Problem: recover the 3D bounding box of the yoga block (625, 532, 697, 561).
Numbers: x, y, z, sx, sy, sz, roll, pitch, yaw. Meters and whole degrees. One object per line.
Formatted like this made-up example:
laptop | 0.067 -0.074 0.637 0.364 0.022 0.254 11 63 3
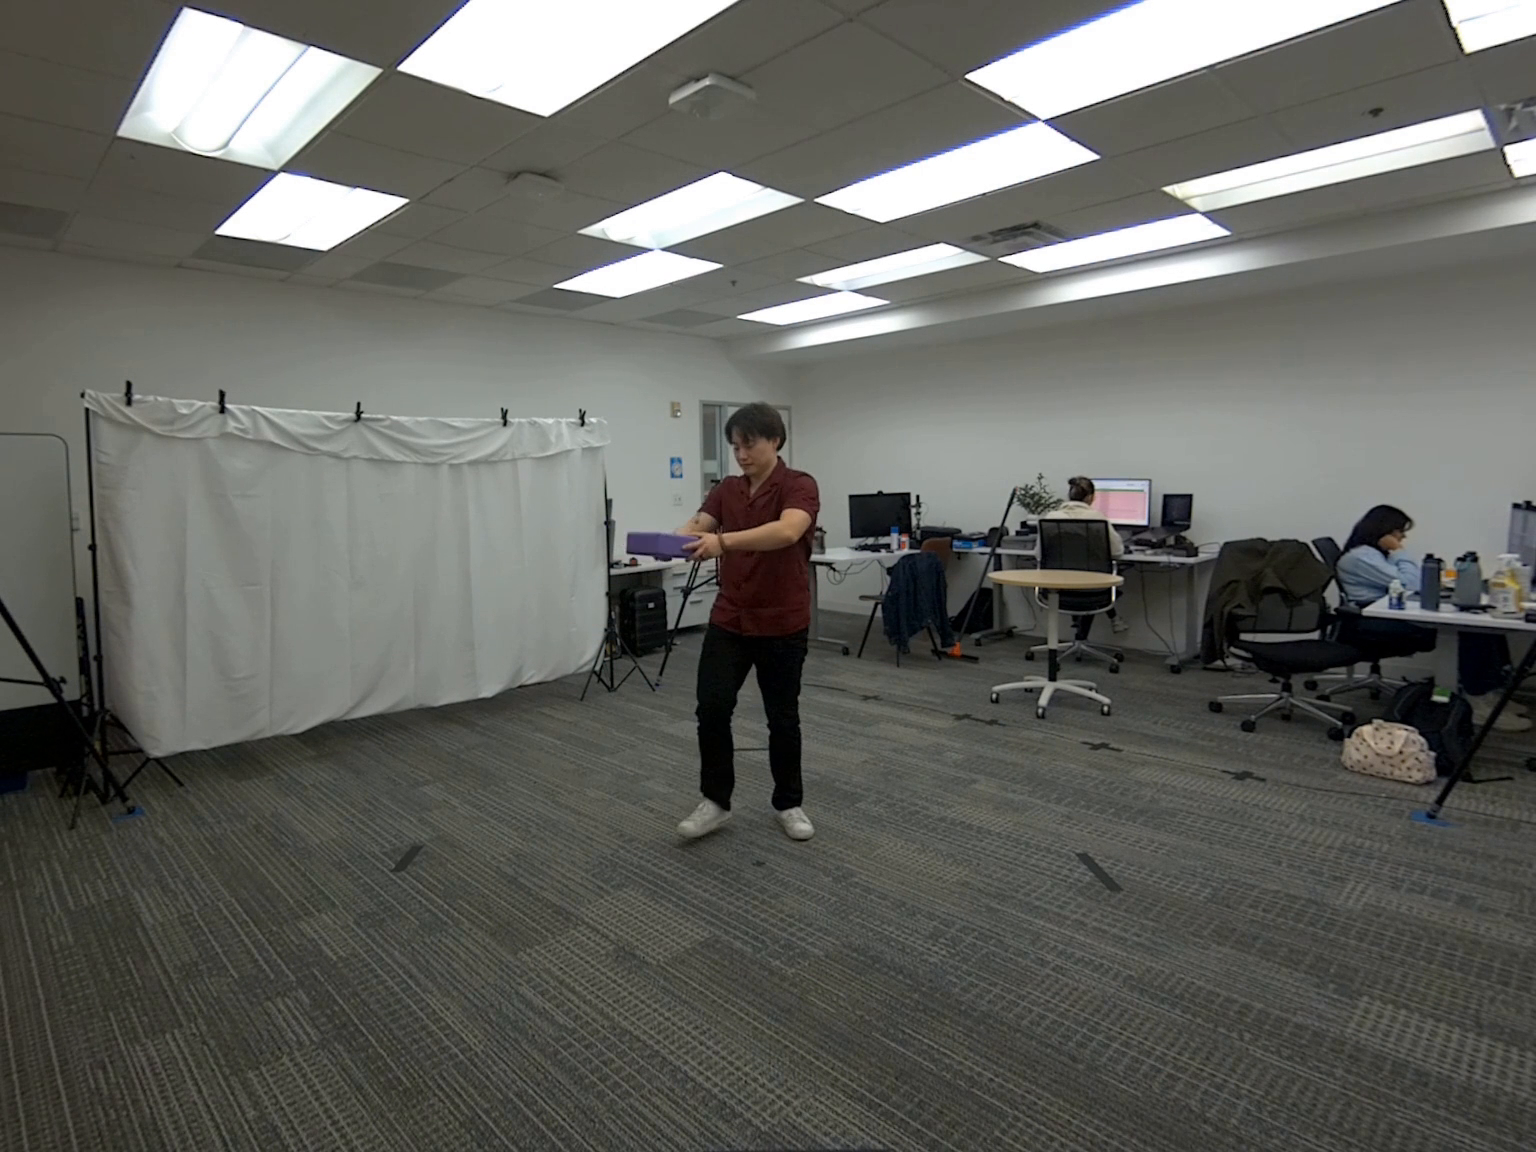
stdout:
yoga block | -0.358 -0.090 2.889 0.153 0.076 0.223 3 0 32
